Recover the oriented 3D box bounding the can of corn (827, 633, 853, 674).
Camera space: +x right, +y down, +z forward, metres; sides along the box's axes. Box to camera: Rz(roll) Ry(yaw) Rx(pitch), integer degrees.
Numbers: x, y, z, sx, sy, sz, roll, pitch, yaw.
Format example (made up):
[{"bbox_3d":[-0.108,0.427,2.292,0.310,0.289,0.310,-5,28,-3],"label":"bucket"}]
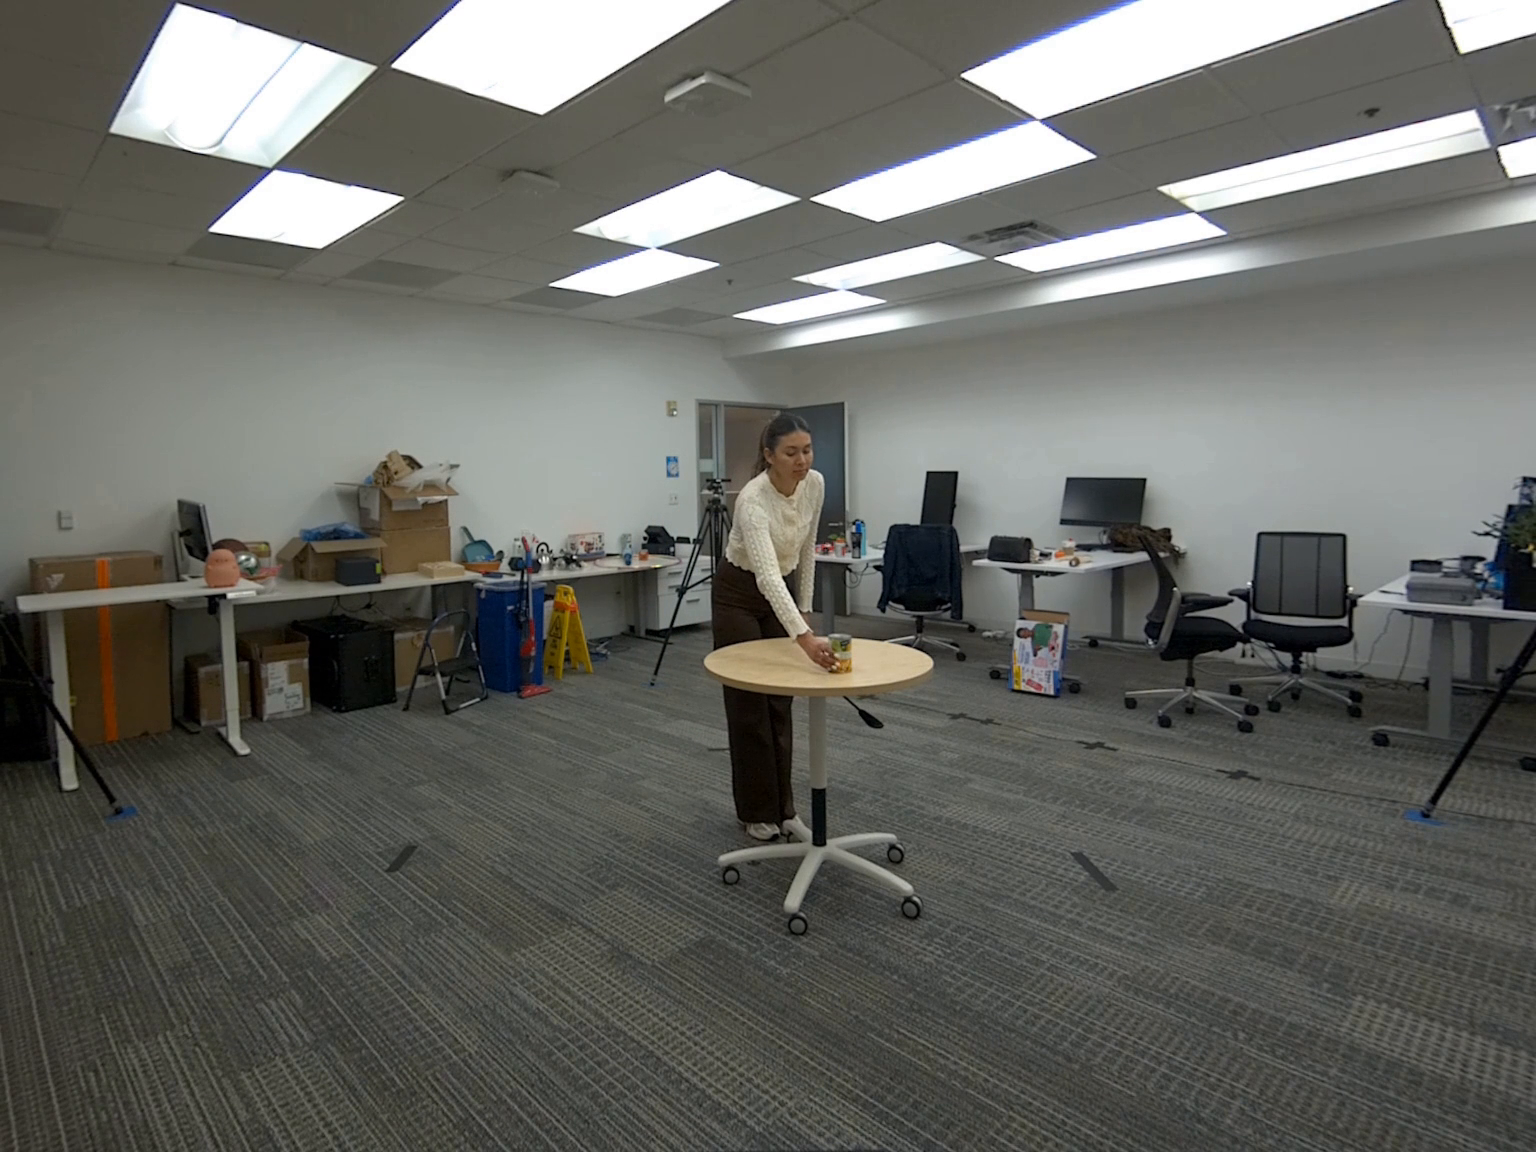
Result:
[{"bbox_3d":[0.219,0.245,2.716,0.074,0.111,0.074,-3,4,-1],"label":"can of corn"}]
